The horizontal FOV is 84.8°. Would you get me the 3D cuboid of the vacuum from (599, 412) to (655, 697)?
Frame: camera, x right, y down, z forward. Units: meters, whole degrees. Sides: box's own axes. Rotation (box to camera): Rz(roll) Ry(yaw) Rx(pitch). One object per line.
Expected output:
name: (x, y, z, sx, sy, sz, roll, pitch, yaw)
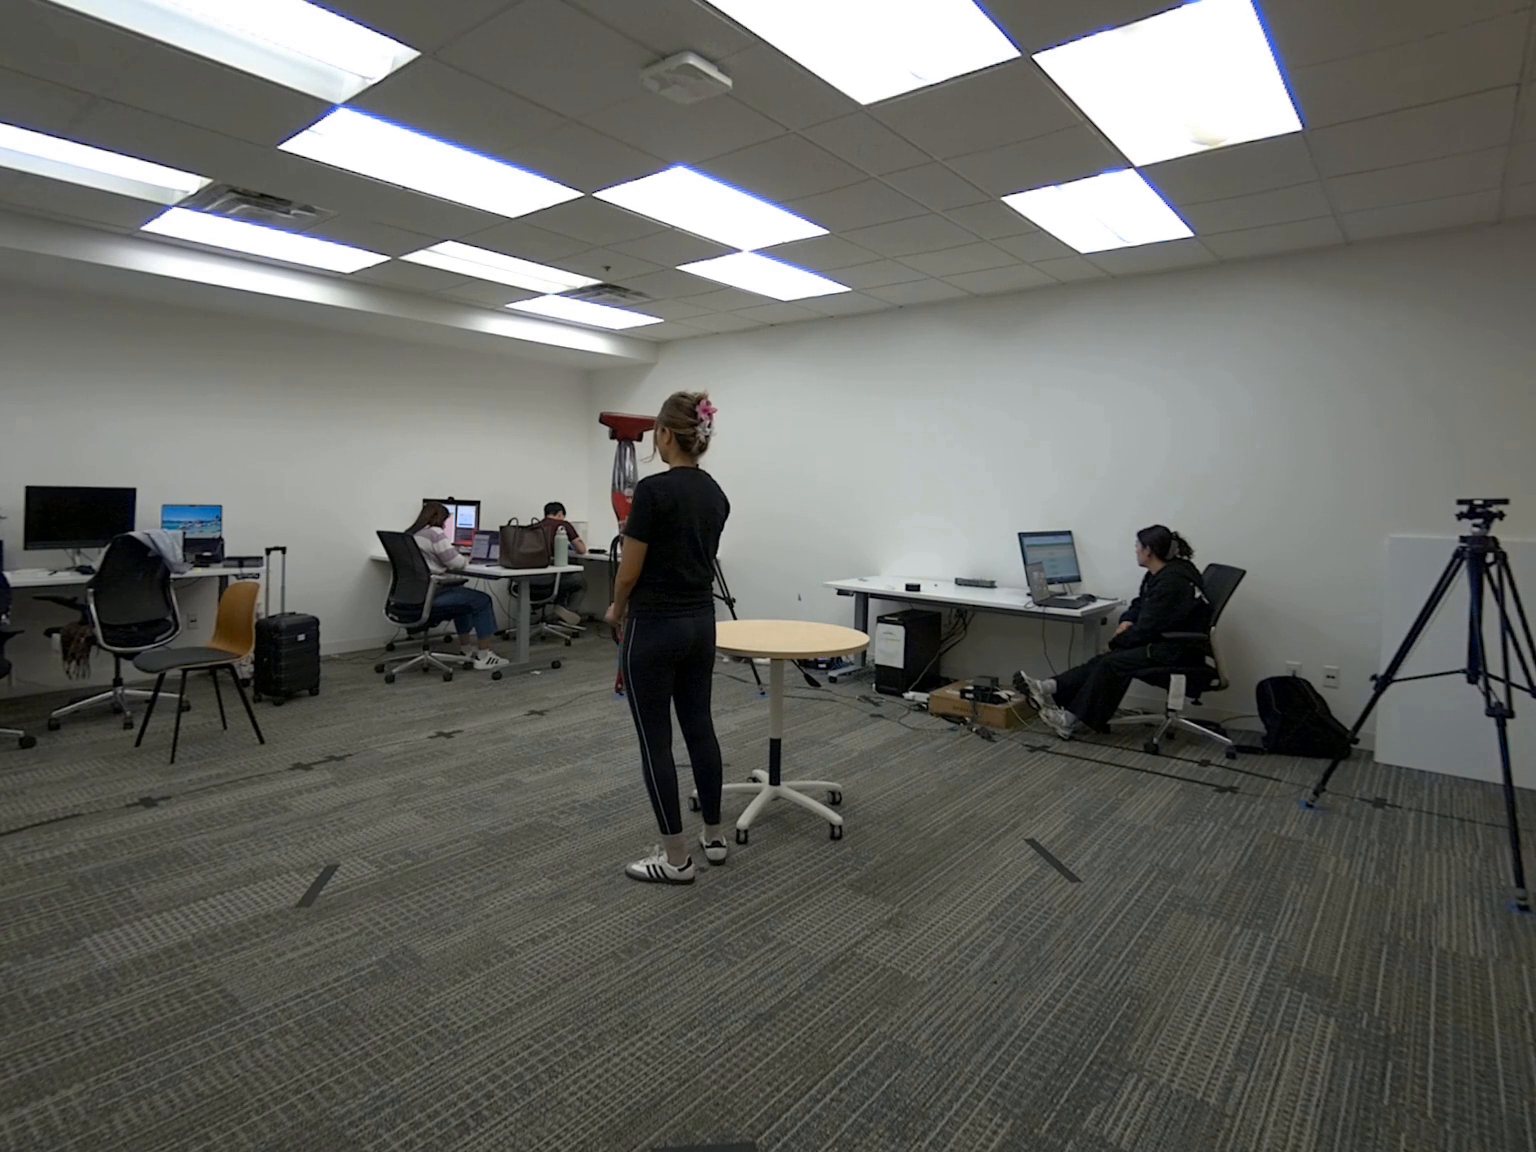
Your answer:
vacuum: (-0.586, -0.090, 3.336, 0.248, 1.054, 0.146, 4, -5, -17)
